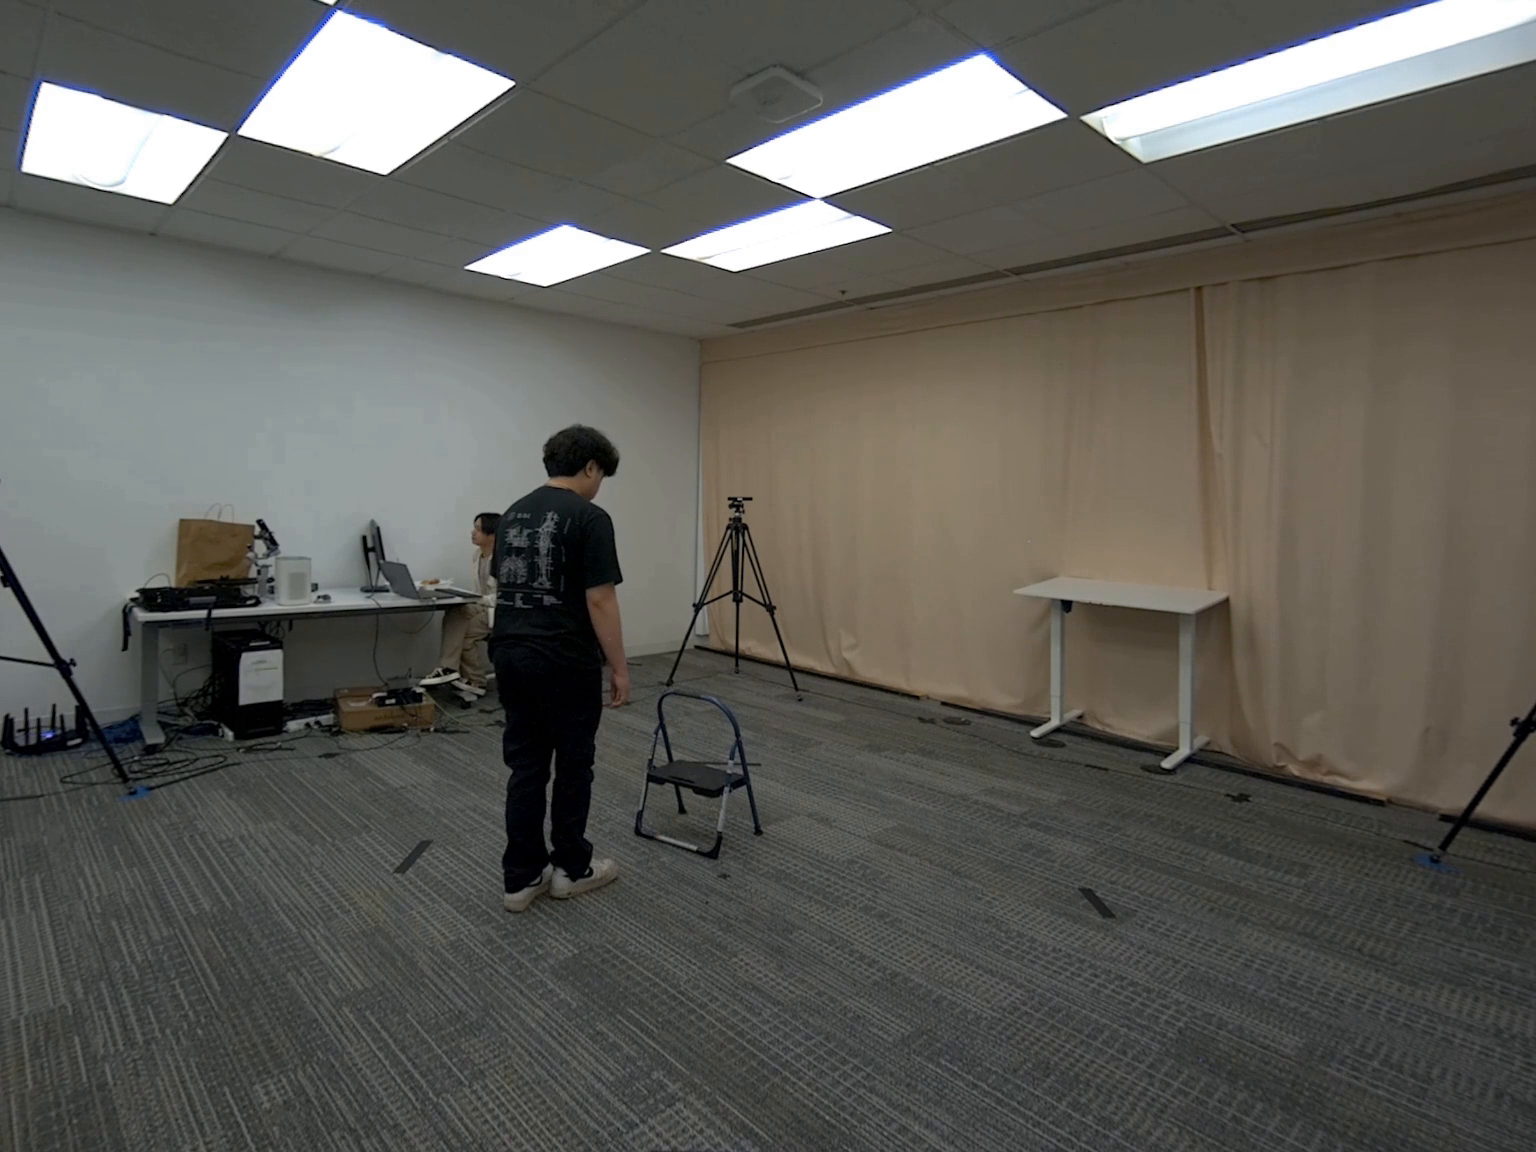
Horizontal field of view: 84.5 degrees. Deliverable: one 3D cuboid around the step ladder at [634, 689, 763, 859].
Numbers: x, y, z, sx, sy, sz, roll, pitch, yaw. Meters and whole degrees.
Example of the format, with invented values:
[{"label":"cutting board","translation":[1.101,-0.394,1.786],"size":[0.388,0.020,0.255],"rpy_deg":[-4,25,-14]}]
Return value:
[{"label":"step ladder","translation":[-0.287,0.767,3.479],"size":[0.440,0.605,0.342],"rpy_deg":[3,3,32]}]
